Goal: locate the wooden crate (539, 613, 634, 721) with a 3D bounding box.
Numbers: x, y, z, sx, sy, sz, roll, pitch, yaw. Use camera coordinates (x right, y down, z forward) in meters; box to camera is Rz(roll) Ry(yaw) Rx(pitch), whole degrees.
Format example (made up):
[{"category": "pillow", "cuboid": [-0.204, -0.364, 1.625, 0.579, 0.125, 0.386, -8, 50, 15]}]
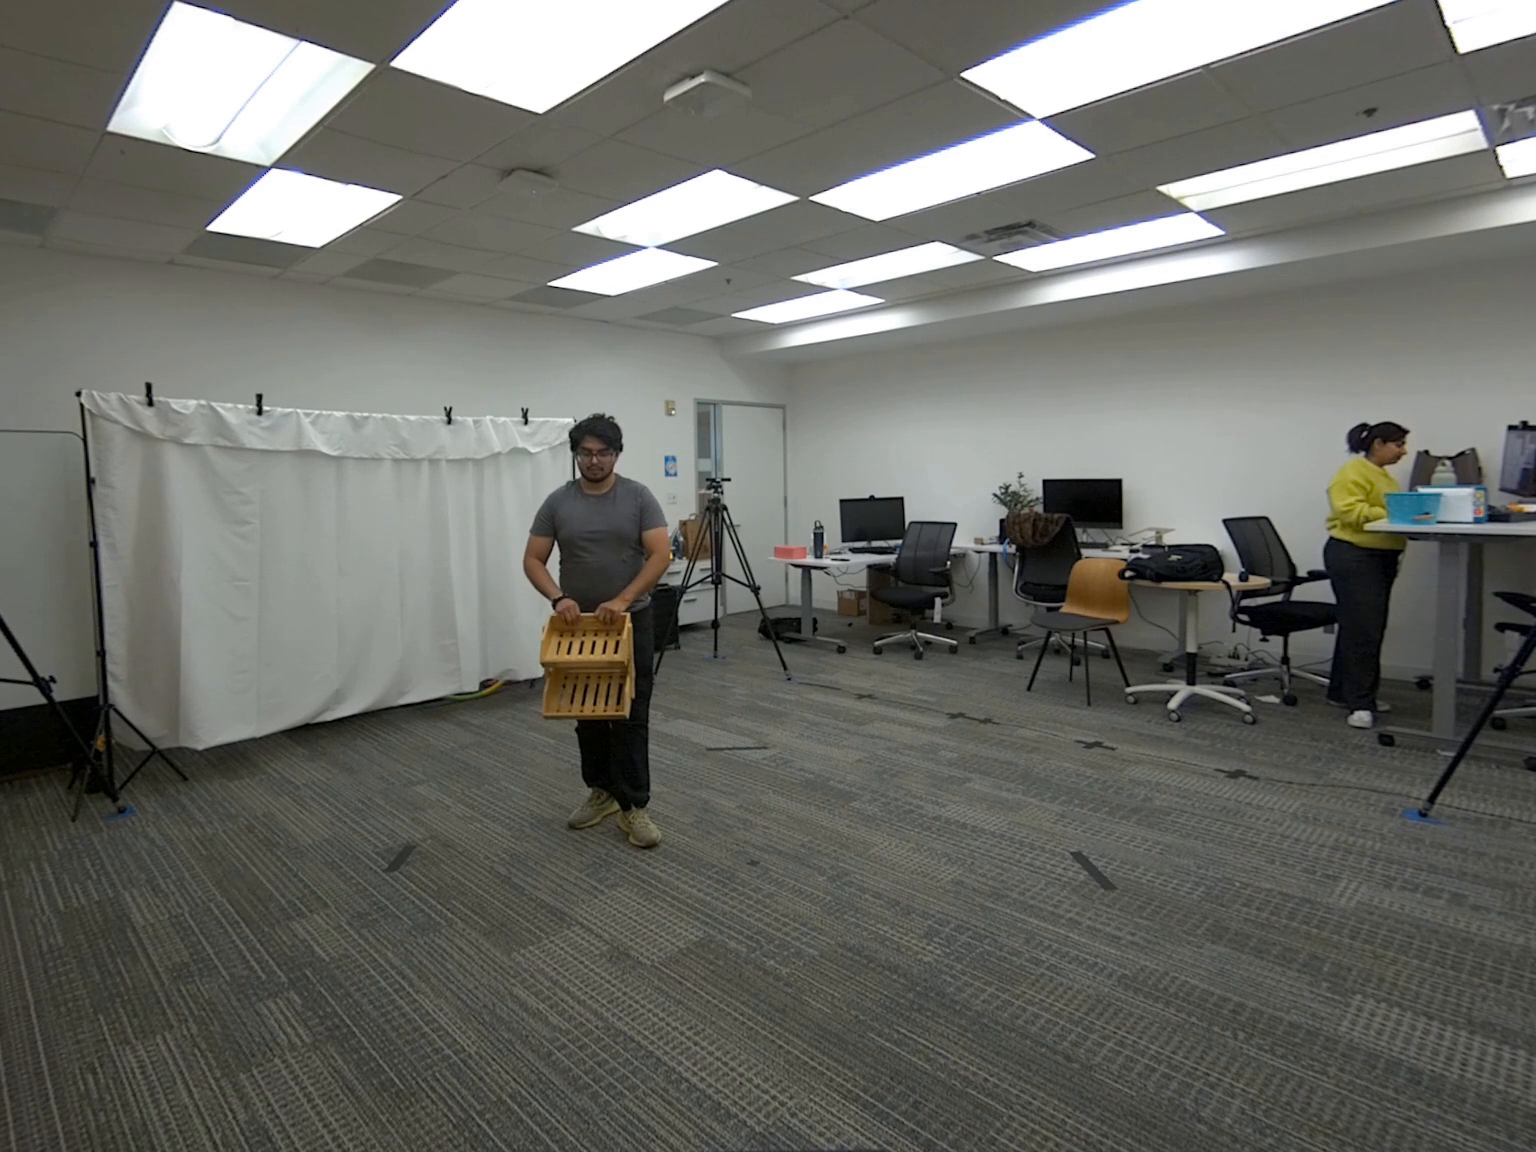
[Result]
[{"category": "wooden crate", "cuboid": [-0.658, 0.334, 3.096, 0.325, 0.266, 0.310, -2, 35, 0]}]
